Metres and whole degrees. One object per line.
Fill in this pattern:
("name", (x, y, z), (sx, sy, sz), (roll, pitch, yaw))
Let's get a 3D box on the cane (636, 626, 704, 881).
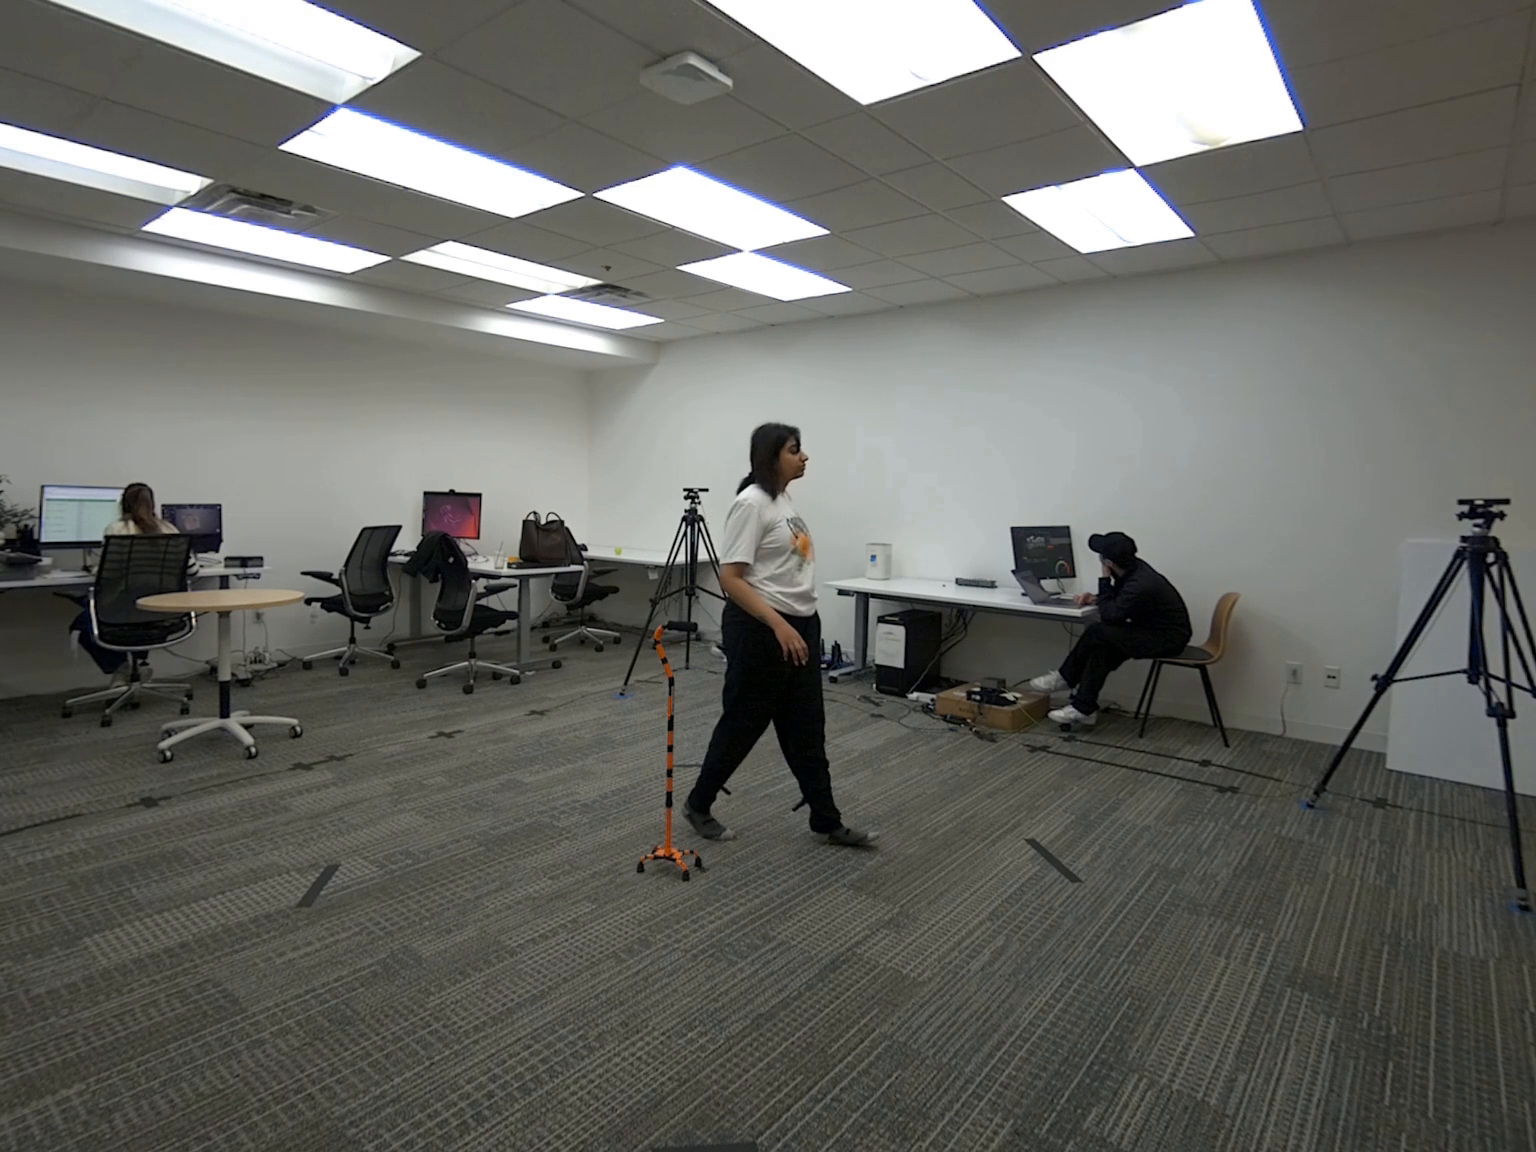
("cane", (-0.359, 0.617, 3.090), (0.211, 0.906, 0.149), (2, 2, 19))
